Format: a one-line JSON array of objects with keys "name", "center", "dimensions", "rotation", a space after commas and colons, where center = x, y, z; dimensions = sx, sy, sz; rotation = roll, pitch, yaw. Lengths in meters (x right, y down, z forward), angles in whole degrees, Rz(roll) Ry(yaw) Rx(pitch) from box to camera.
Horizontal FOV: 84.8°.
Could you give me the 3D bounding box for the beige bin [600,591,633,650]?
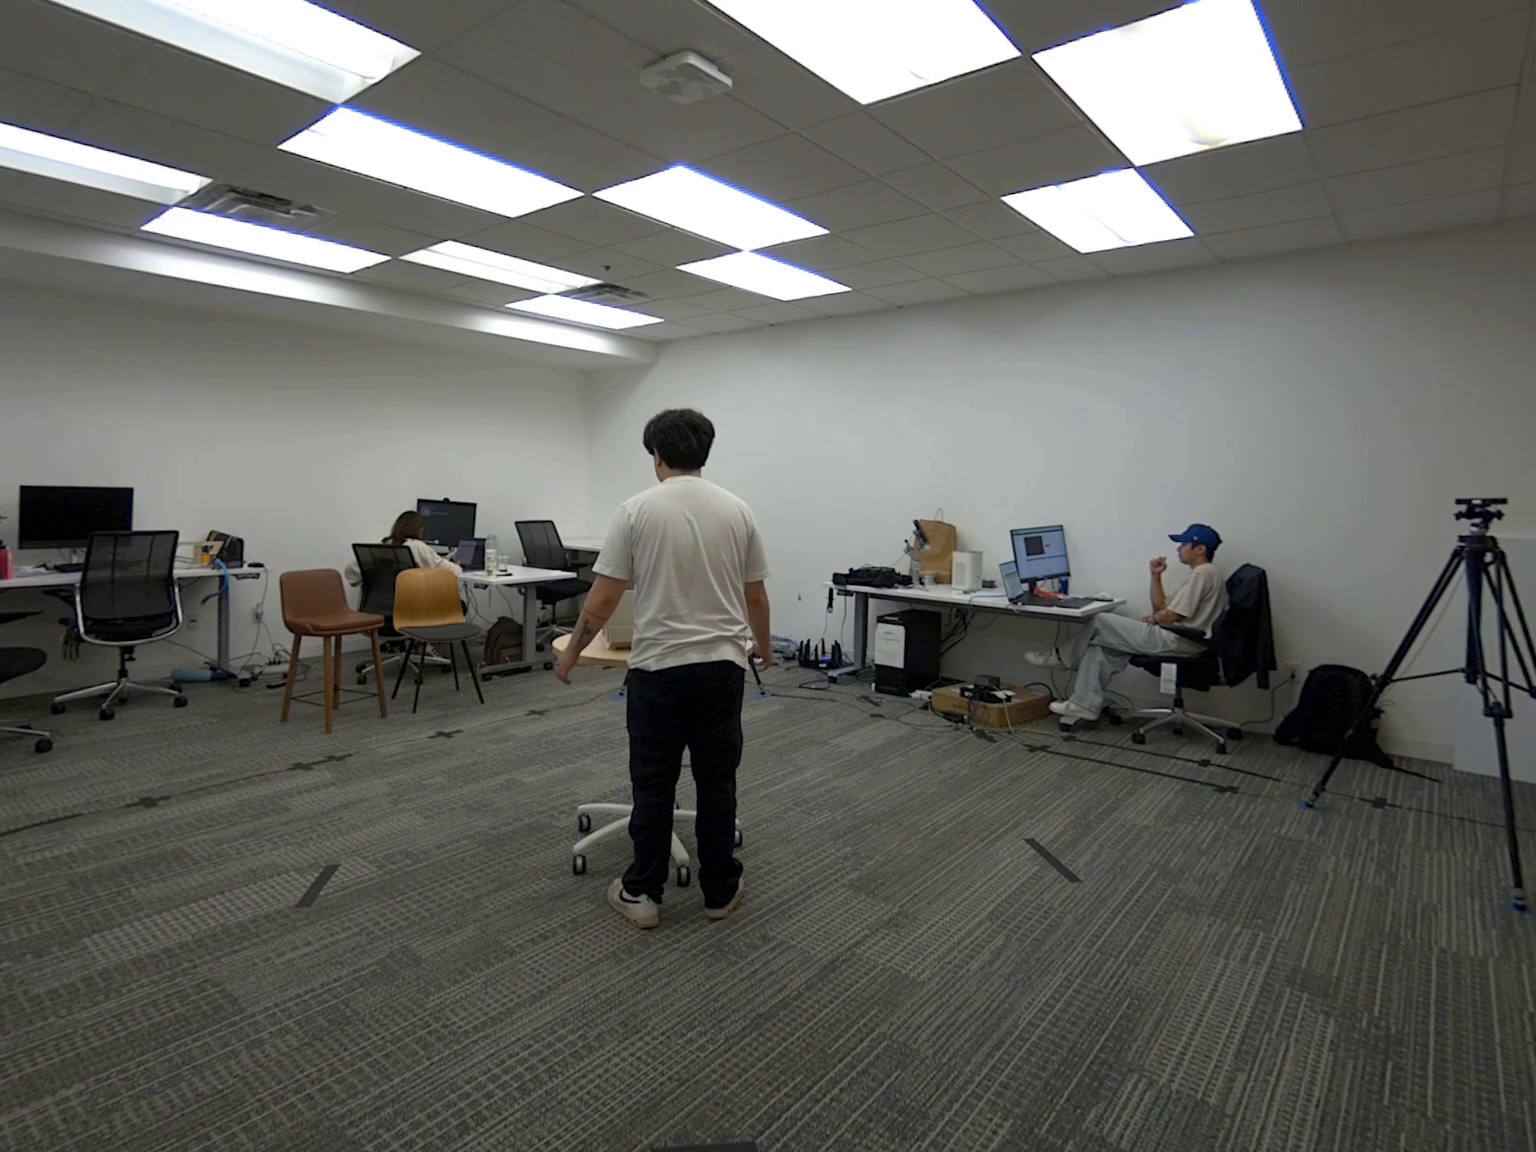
[{"name": "beige bin", "center": [-0.433, 0.163, 3.265], "dimensions": [0.416, 0.188, 0.384], "rotation": [-1, 4, -15]}]
